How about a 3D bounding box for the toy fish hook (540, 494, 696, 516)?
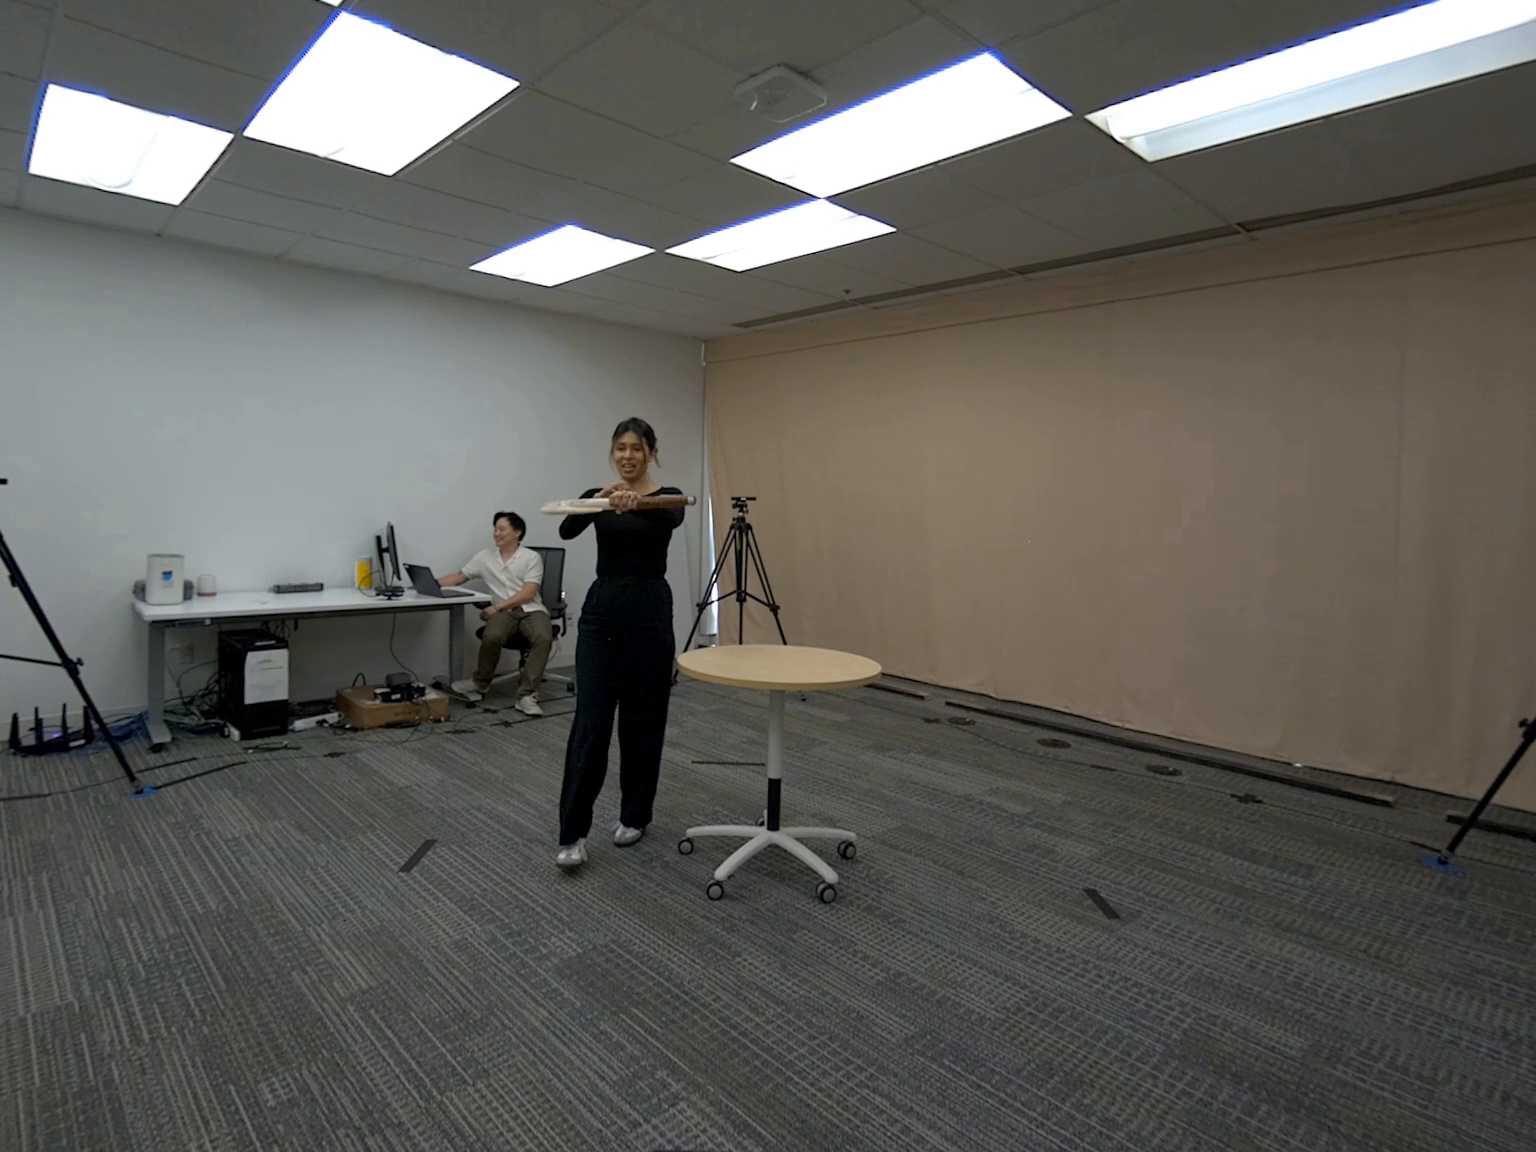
[{"bbox_3d":[-0.486,-0.234,2.757,0.503,0.048,0.228,-5,14,-11],"label":"toy fish hook"}]
